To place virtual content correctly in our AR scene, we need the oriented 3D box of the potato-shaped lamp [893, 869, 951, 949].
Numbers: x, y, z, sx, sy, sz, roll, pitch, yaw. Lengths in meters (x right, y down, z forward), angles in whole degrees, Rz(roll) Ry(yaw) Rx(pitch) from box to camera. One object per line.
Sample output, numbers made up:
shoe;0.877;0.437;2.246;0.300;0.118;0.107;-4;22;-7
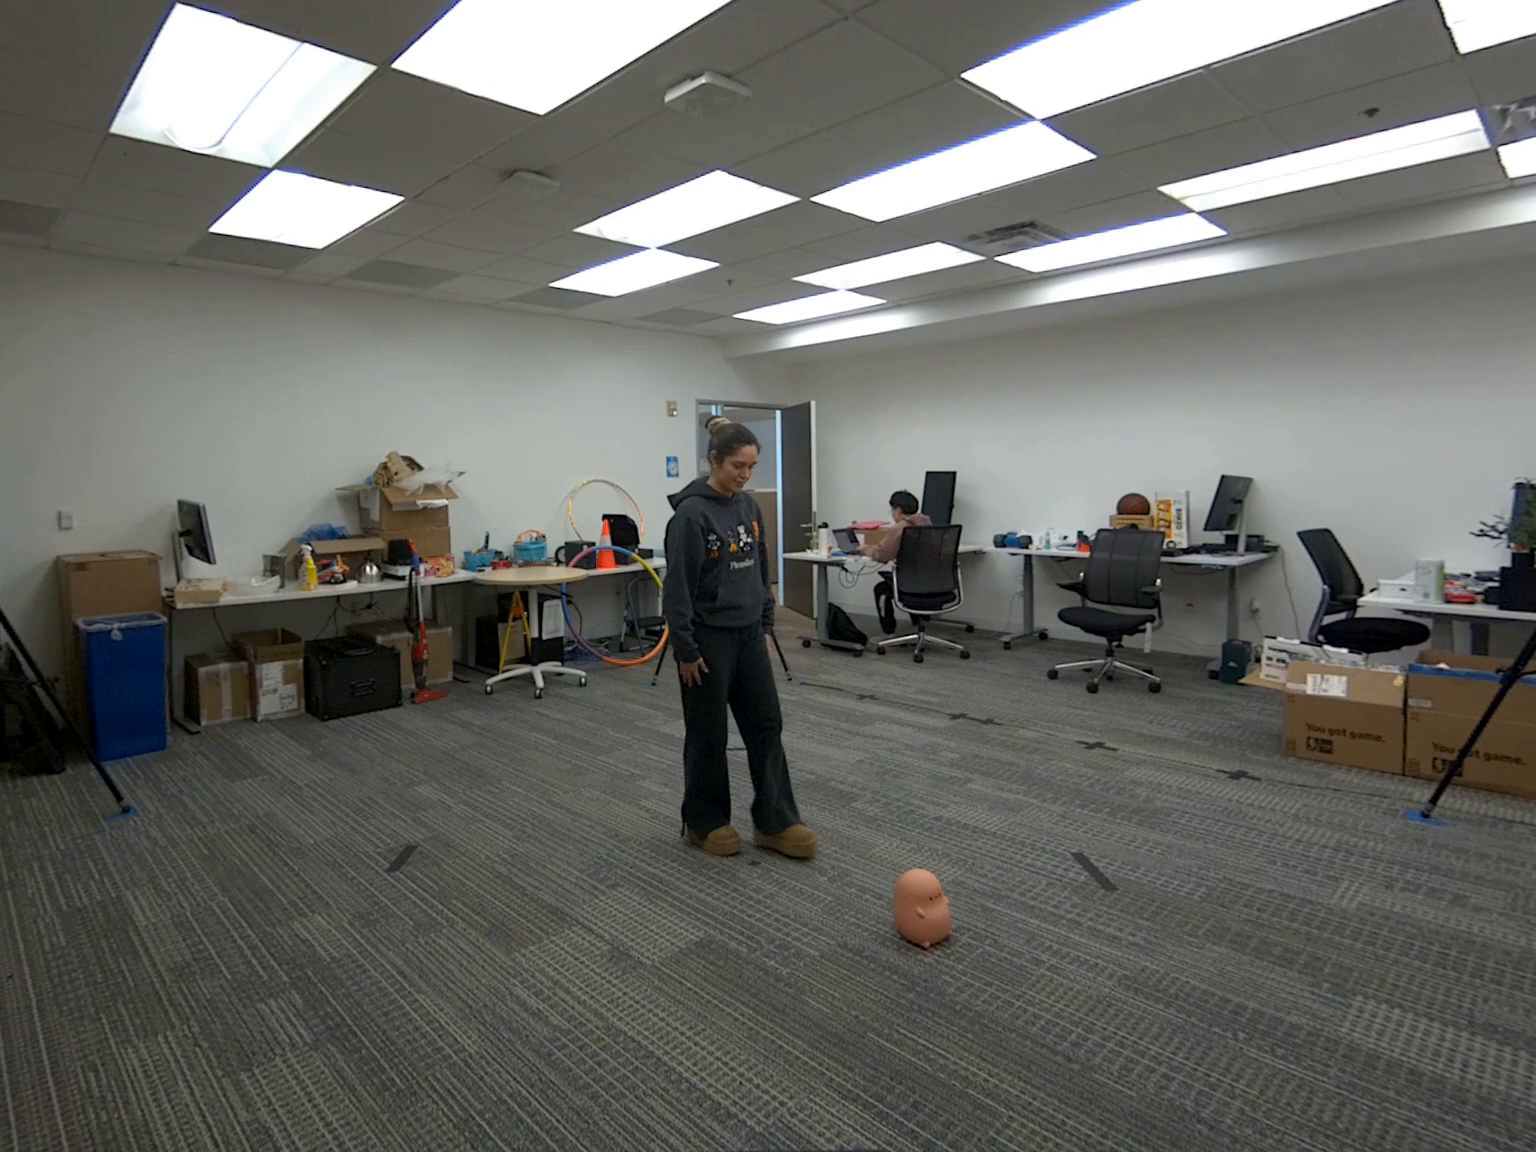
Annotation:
potato-shaped lamp;0.470;0.997;2.581;0.160;0.197;0.176;-5;5;-42
